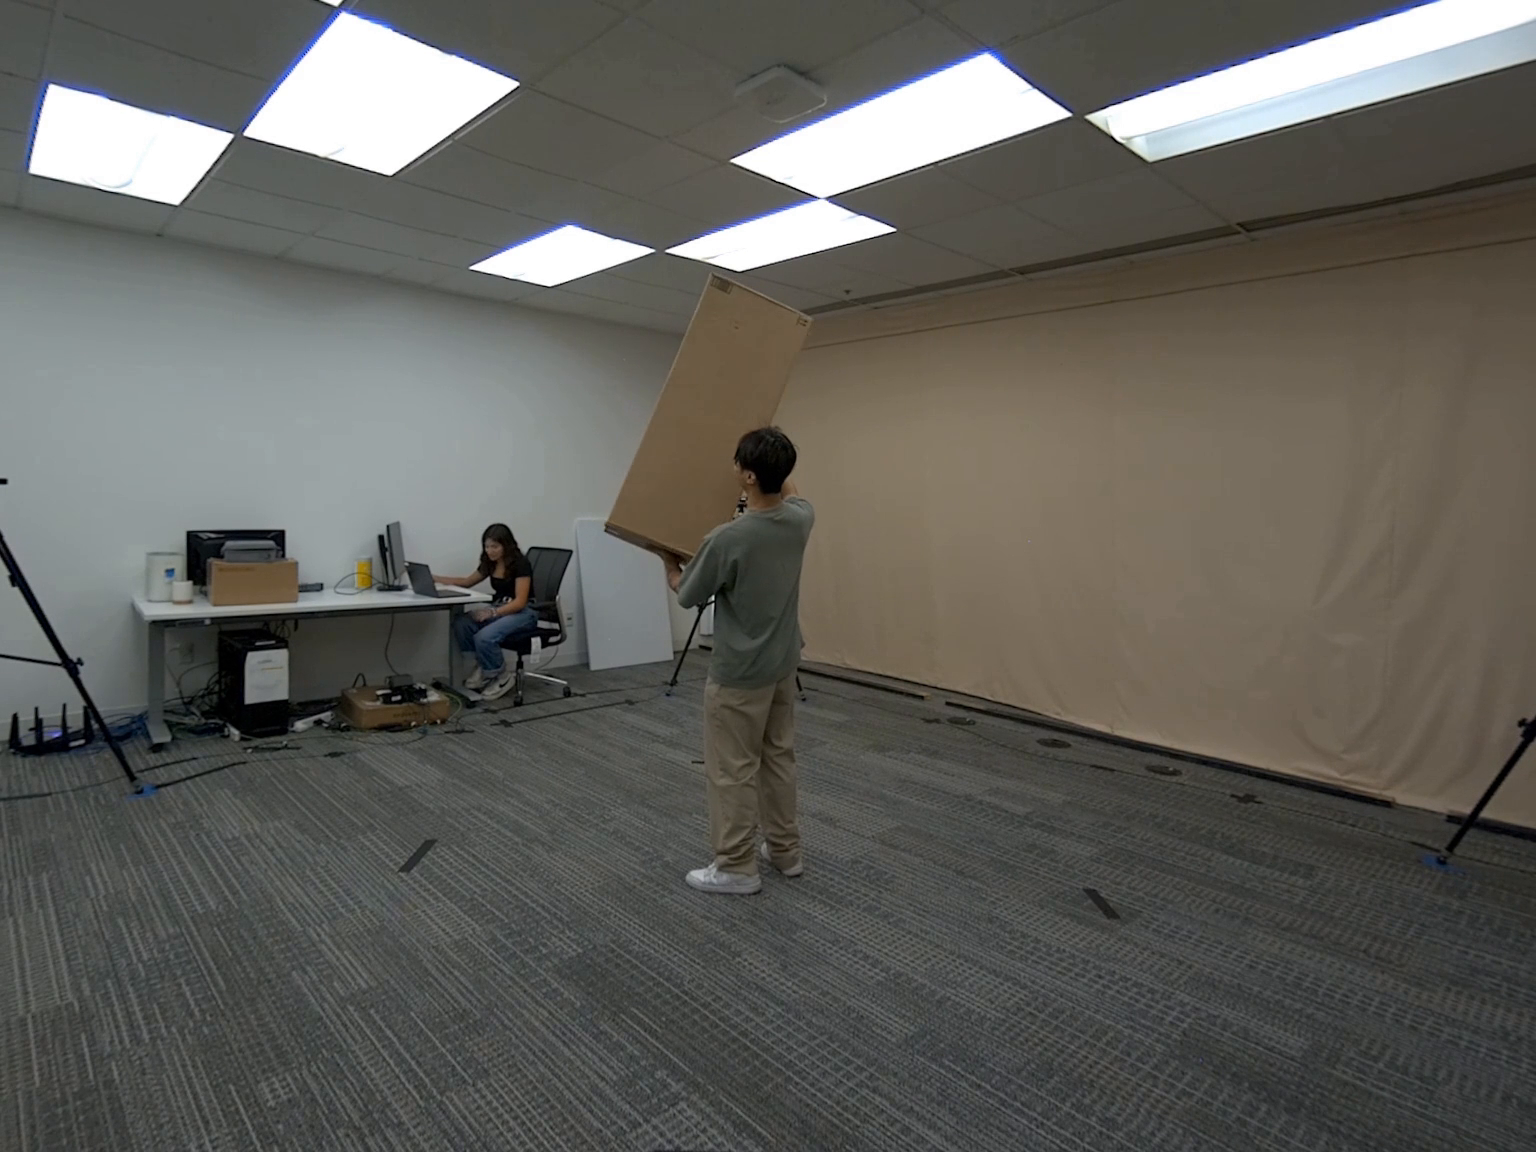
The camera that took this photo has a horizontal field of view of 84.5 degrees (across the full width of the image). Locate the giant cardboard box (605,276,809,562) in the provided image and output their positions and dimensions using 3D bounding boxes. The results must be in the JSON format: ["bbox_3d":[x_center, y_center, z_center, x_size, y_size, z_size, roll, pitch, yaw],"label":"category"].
[{"bbox_3d":[-0.266,-0.575,3.380,0.422,1.028,0.581,23,-7,-10],"label":"giant cardboard box"}]
